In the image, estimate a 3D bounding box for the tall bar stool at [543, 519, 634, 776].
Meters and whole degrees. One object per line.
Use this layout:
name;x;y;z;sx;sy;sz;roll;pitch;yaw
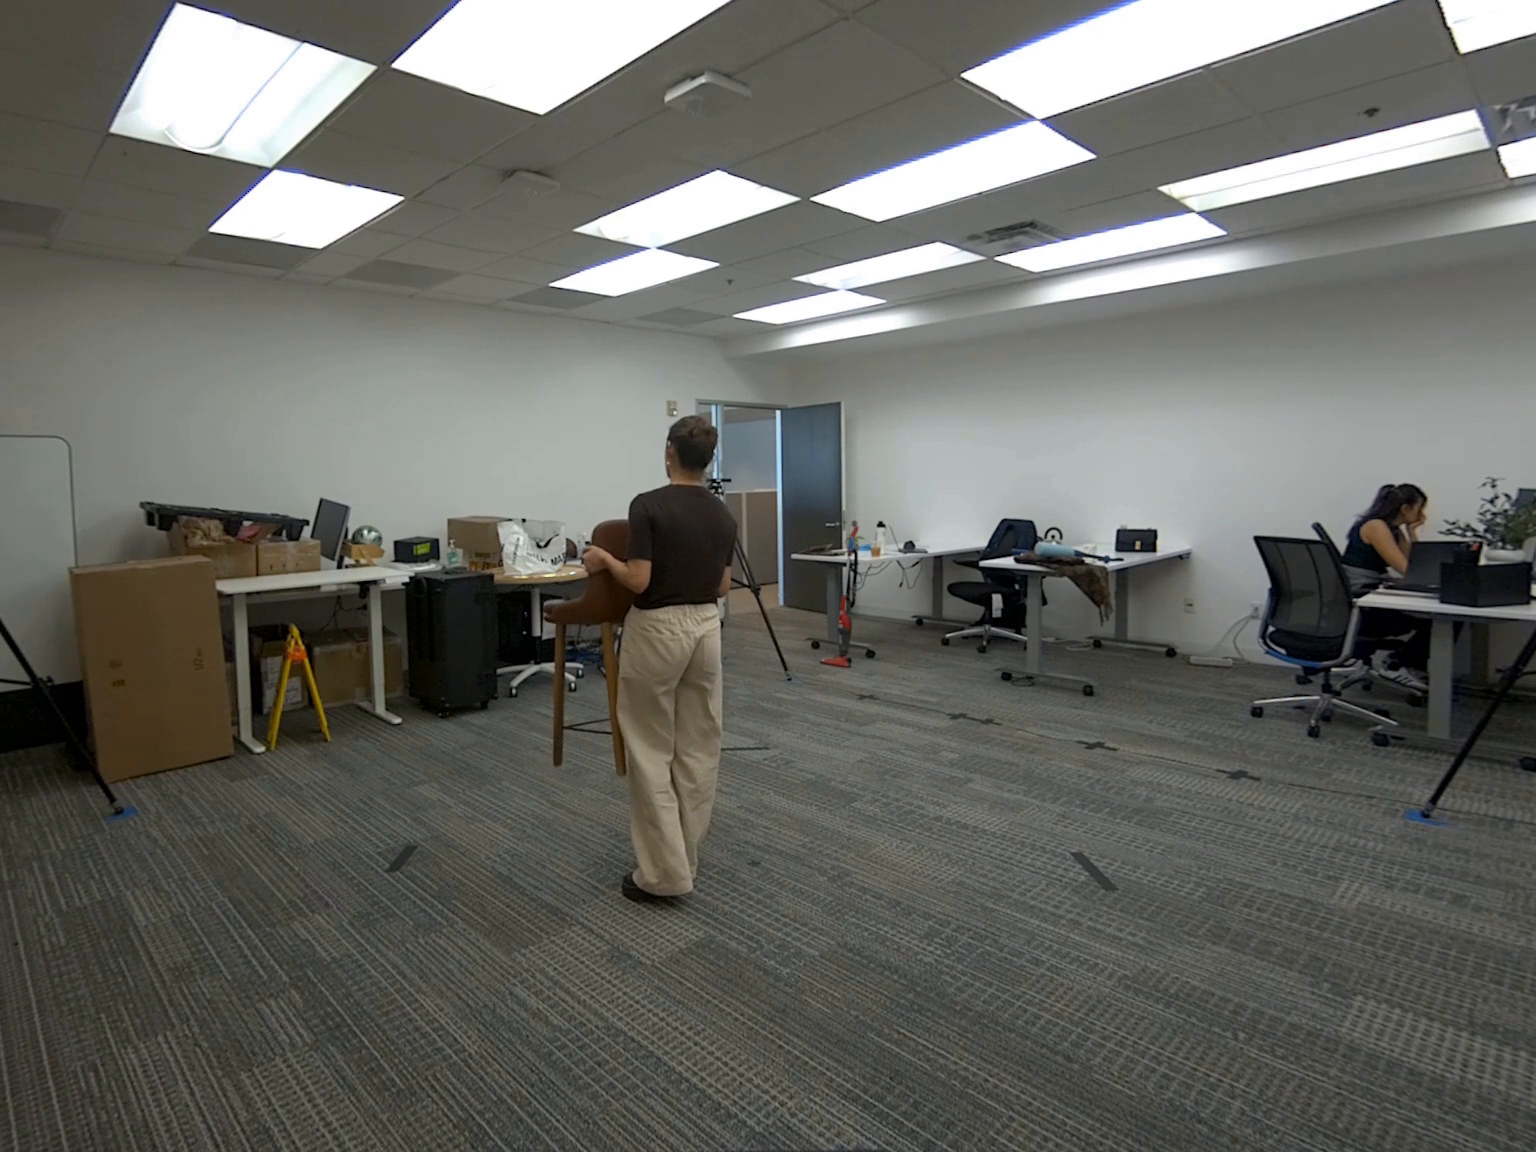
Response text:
tall bar stool;-0.558;0.258;3.206;0.444;0.892;0.479;-3;-2;-40
